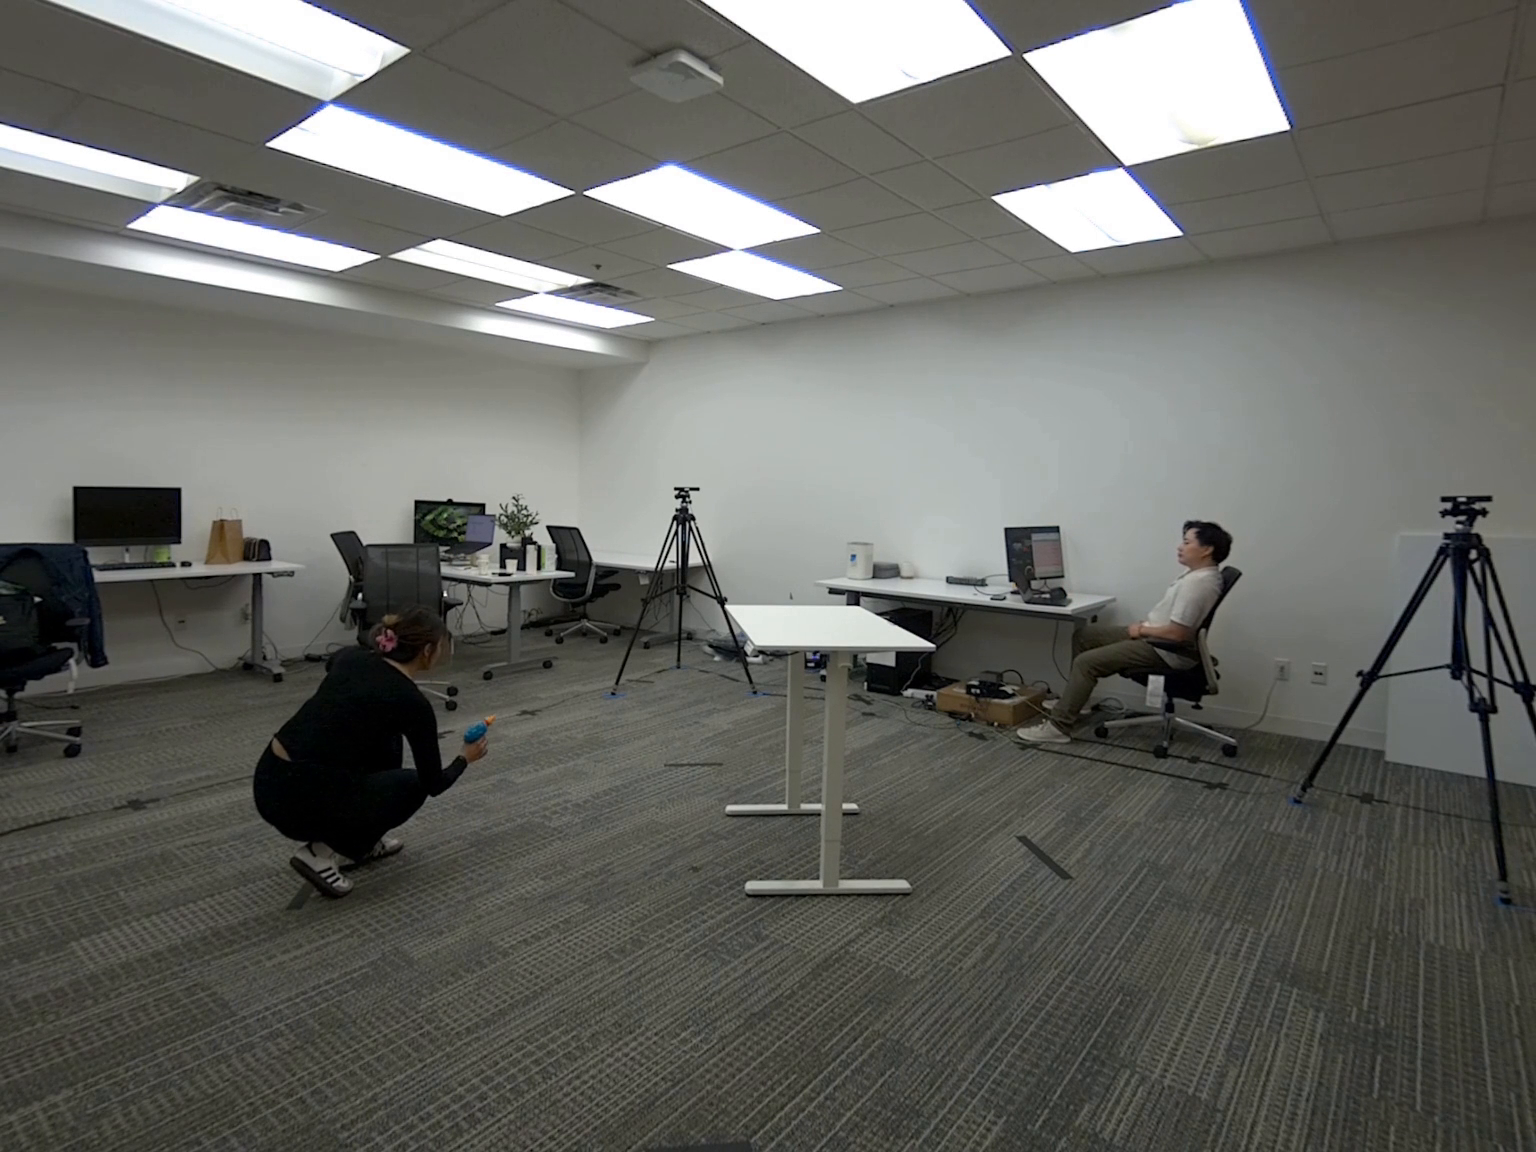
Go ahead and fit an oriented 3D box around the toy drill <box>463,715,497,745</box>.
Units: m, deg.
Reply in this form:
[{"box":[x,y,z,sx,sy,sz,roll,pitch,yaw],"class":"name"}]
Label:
[{"box":[-1.204,0.649,3.412,0.061,0.141,0.177,-33,38,-17],"class":"toy drill"}]
